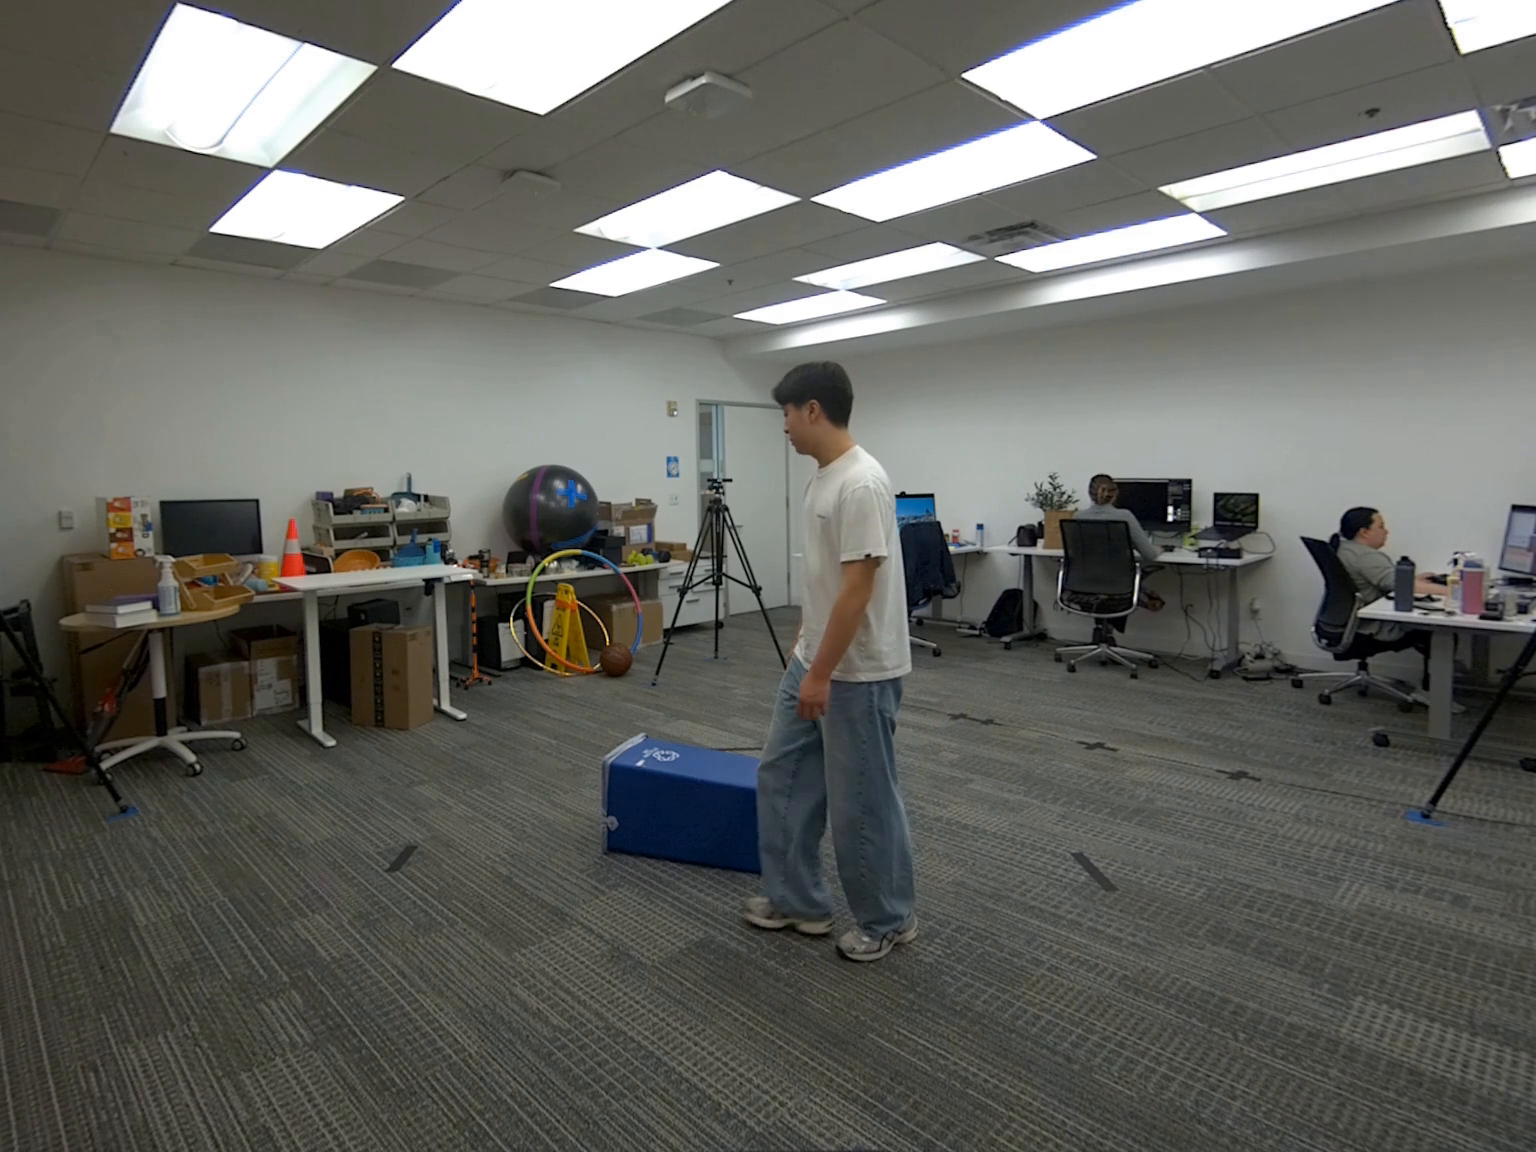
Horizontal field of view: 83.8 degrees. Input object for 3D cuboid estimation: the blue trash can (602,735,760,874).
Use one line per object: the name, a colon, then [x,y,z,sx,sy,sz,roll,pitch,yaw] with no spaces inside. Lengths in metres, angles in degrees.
blue trash can: [-0.230,0.862,3.237,0.728,0.376,0.368,4,6,20]
